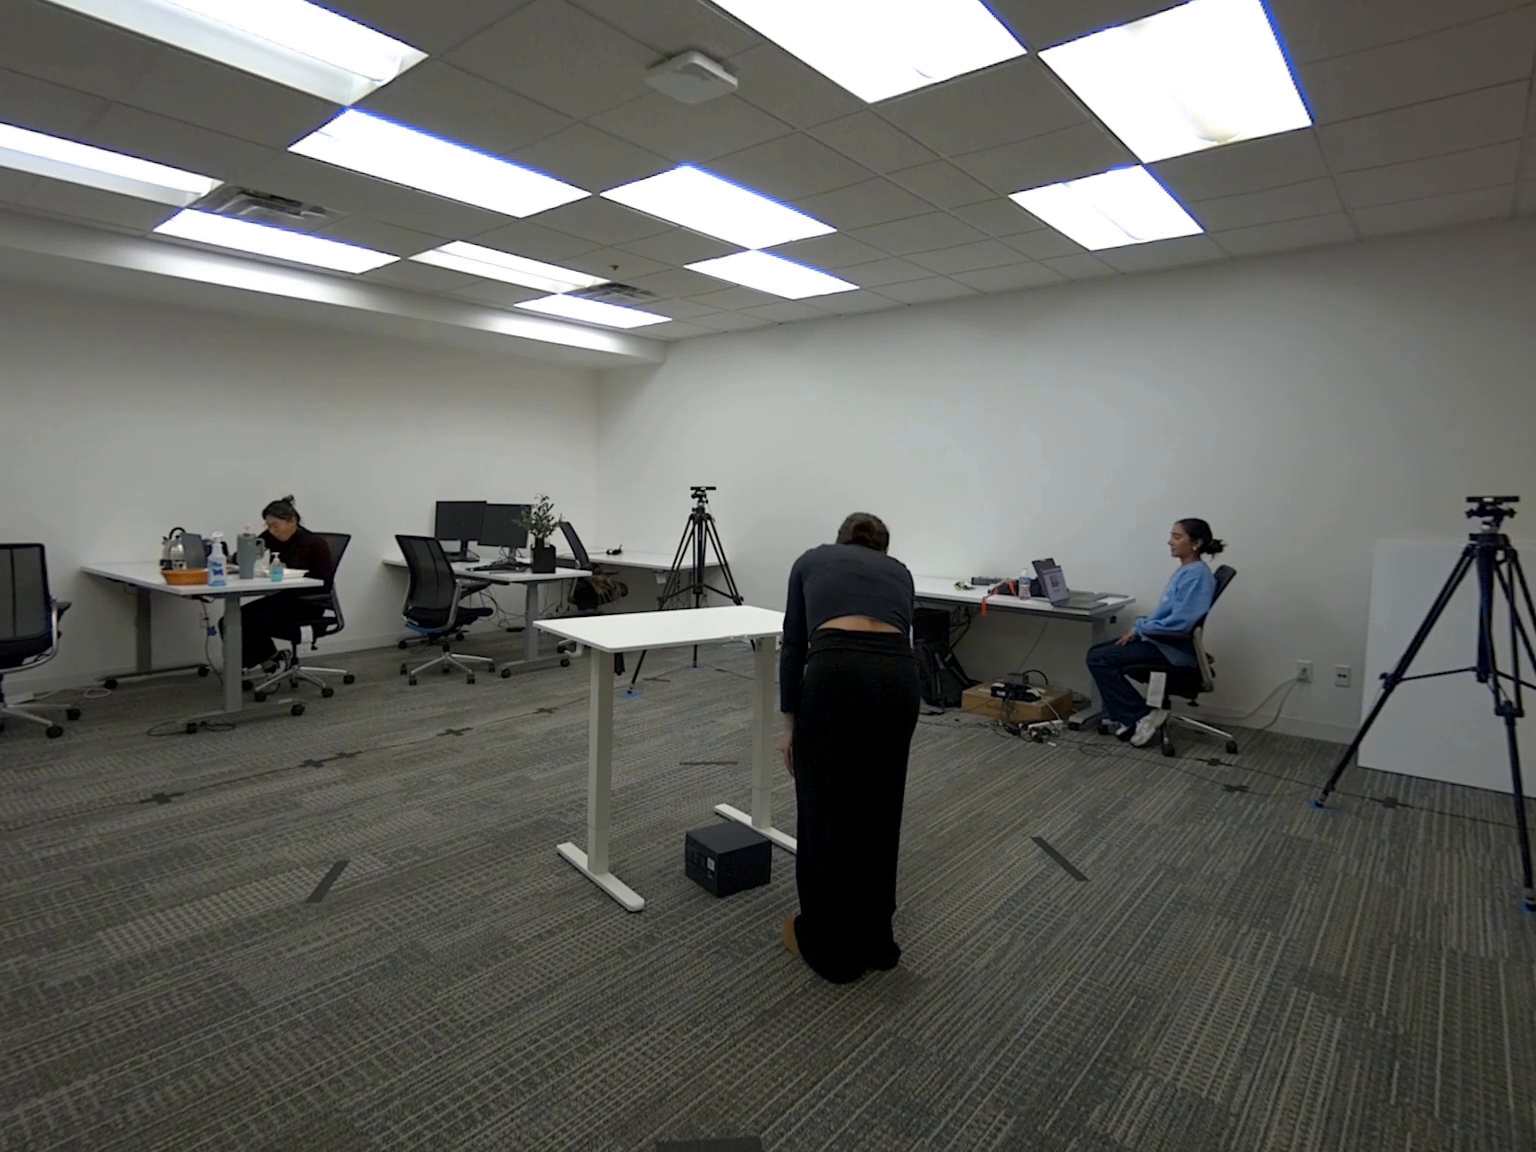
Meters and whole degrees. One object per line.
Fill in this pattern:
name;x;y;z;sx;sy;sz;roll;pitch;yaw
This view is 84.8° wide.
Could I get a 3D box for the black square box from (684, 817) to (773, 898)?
black square box;-0.154;0.992;3.015;0.221;0.155;0.224;-2;6;-36
